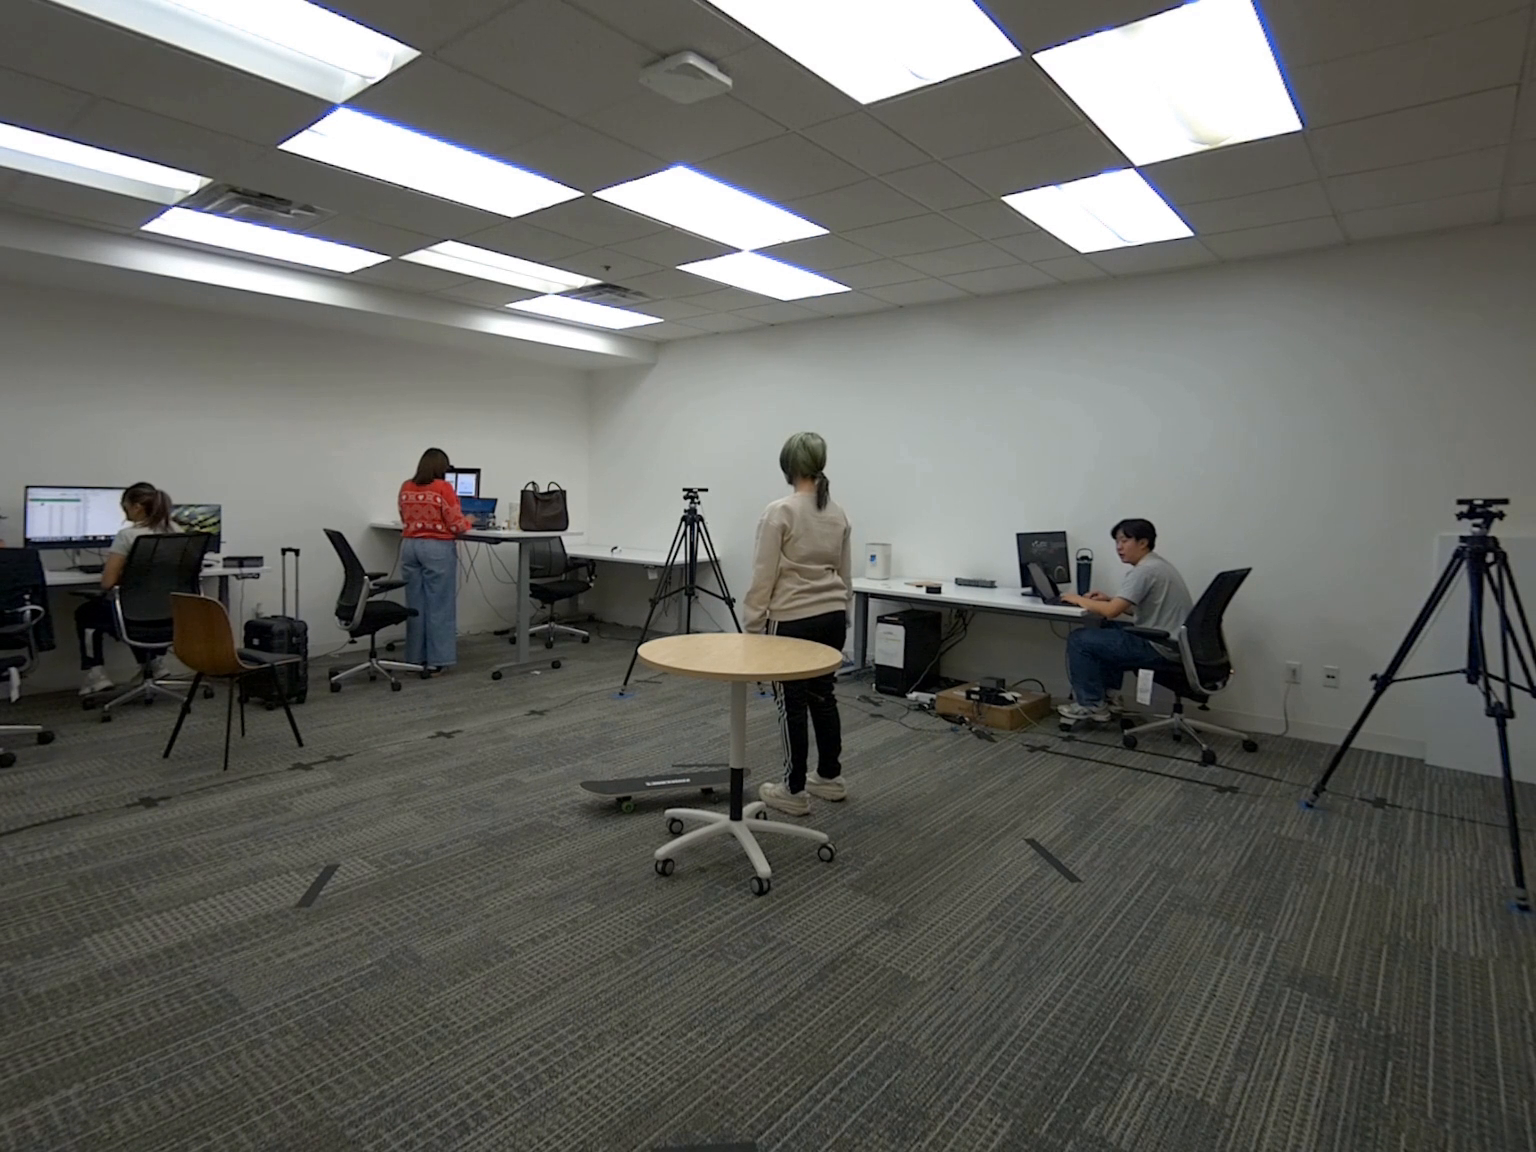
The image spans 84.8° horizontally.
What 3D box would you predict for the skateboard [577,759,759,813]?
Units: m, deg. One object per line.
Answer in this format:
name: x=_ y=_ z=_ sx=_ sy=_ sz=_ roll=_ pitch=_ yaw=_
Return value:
skateboard: x=-0.447 y=0.932 z=3.768 sx=0.770 sy=0.110 sz=0.198 roll=0 pitch=3 yaw=-19
